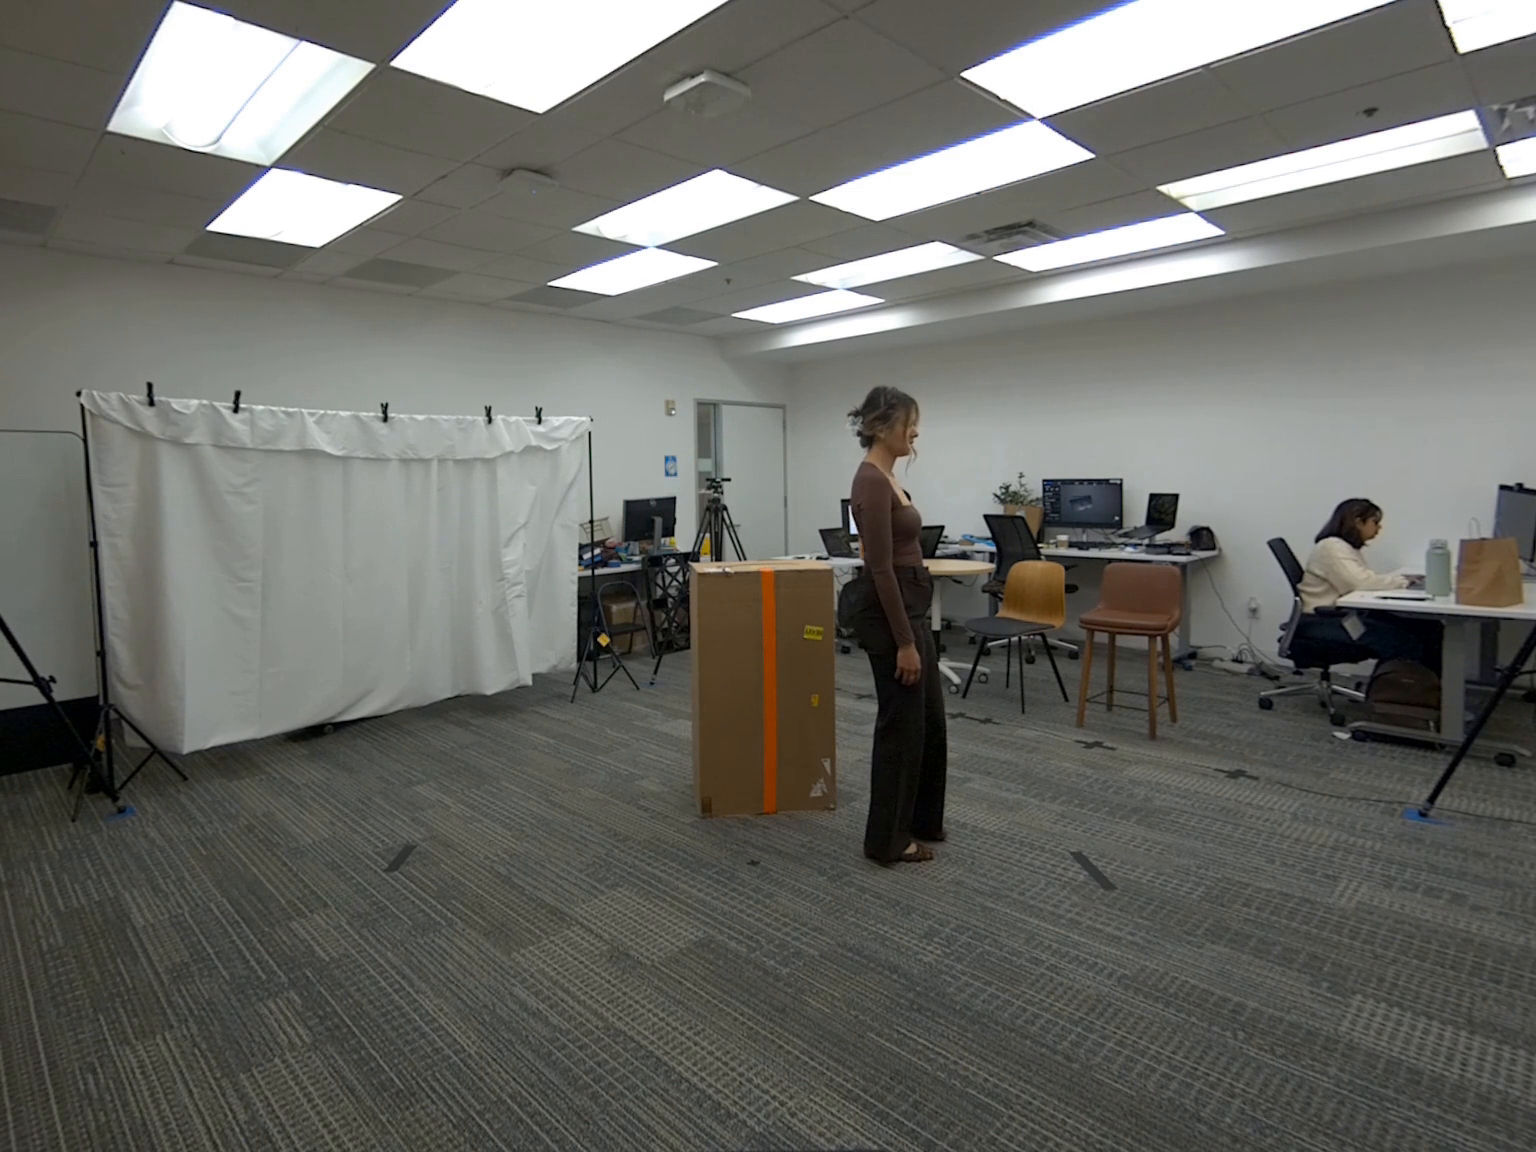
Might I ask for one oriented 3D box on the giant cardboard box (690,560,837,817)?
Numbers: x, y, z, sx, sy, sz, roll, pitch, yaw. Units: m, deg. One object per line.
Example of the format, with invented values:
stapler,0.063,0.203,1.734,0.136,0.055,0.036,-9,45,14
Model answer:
giant cardboard box,-0.032,0.461,3.741,0.579,1.024,0.452,-2,3,-9
